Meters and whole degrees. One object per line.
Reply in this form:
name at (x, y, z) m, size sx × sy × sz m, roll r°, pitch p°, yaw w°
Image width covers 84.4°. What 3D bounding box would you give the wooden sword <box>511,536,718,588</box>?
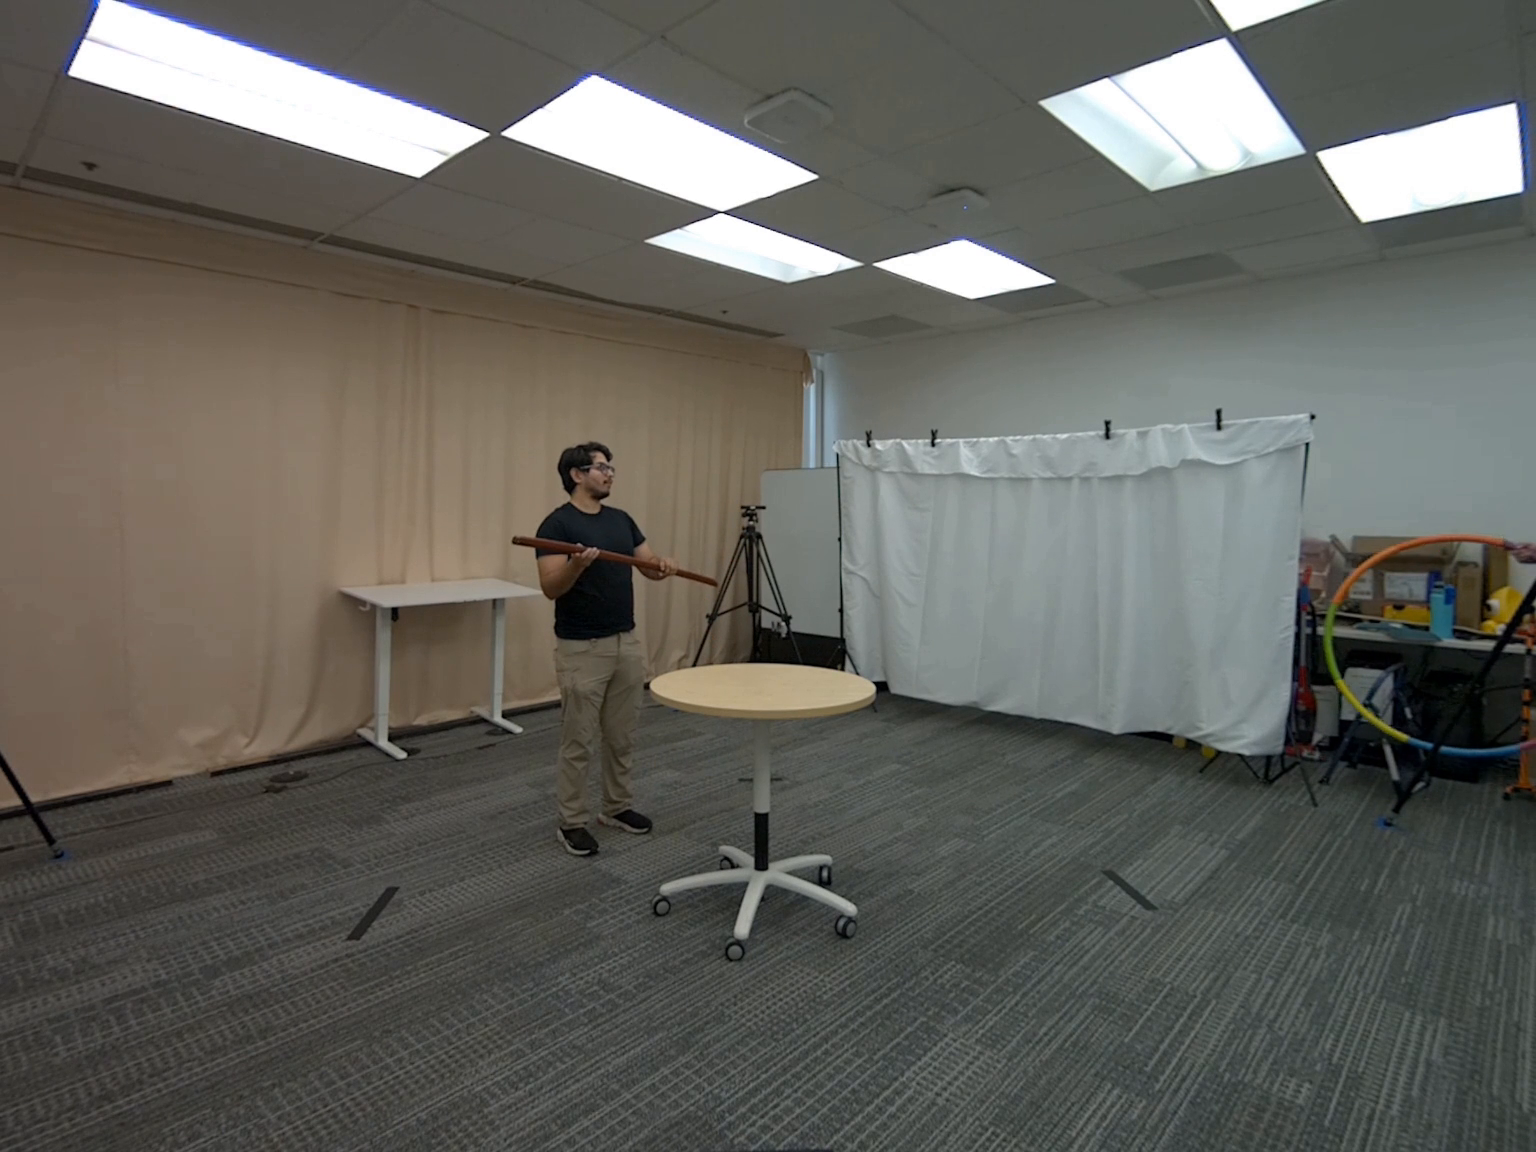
wooden sword at (-0.528, -0.055, 3.213) m, size 0.053 × 0.024 × 0.989 m, roll 4°, pitch -6°, yaw 44°
